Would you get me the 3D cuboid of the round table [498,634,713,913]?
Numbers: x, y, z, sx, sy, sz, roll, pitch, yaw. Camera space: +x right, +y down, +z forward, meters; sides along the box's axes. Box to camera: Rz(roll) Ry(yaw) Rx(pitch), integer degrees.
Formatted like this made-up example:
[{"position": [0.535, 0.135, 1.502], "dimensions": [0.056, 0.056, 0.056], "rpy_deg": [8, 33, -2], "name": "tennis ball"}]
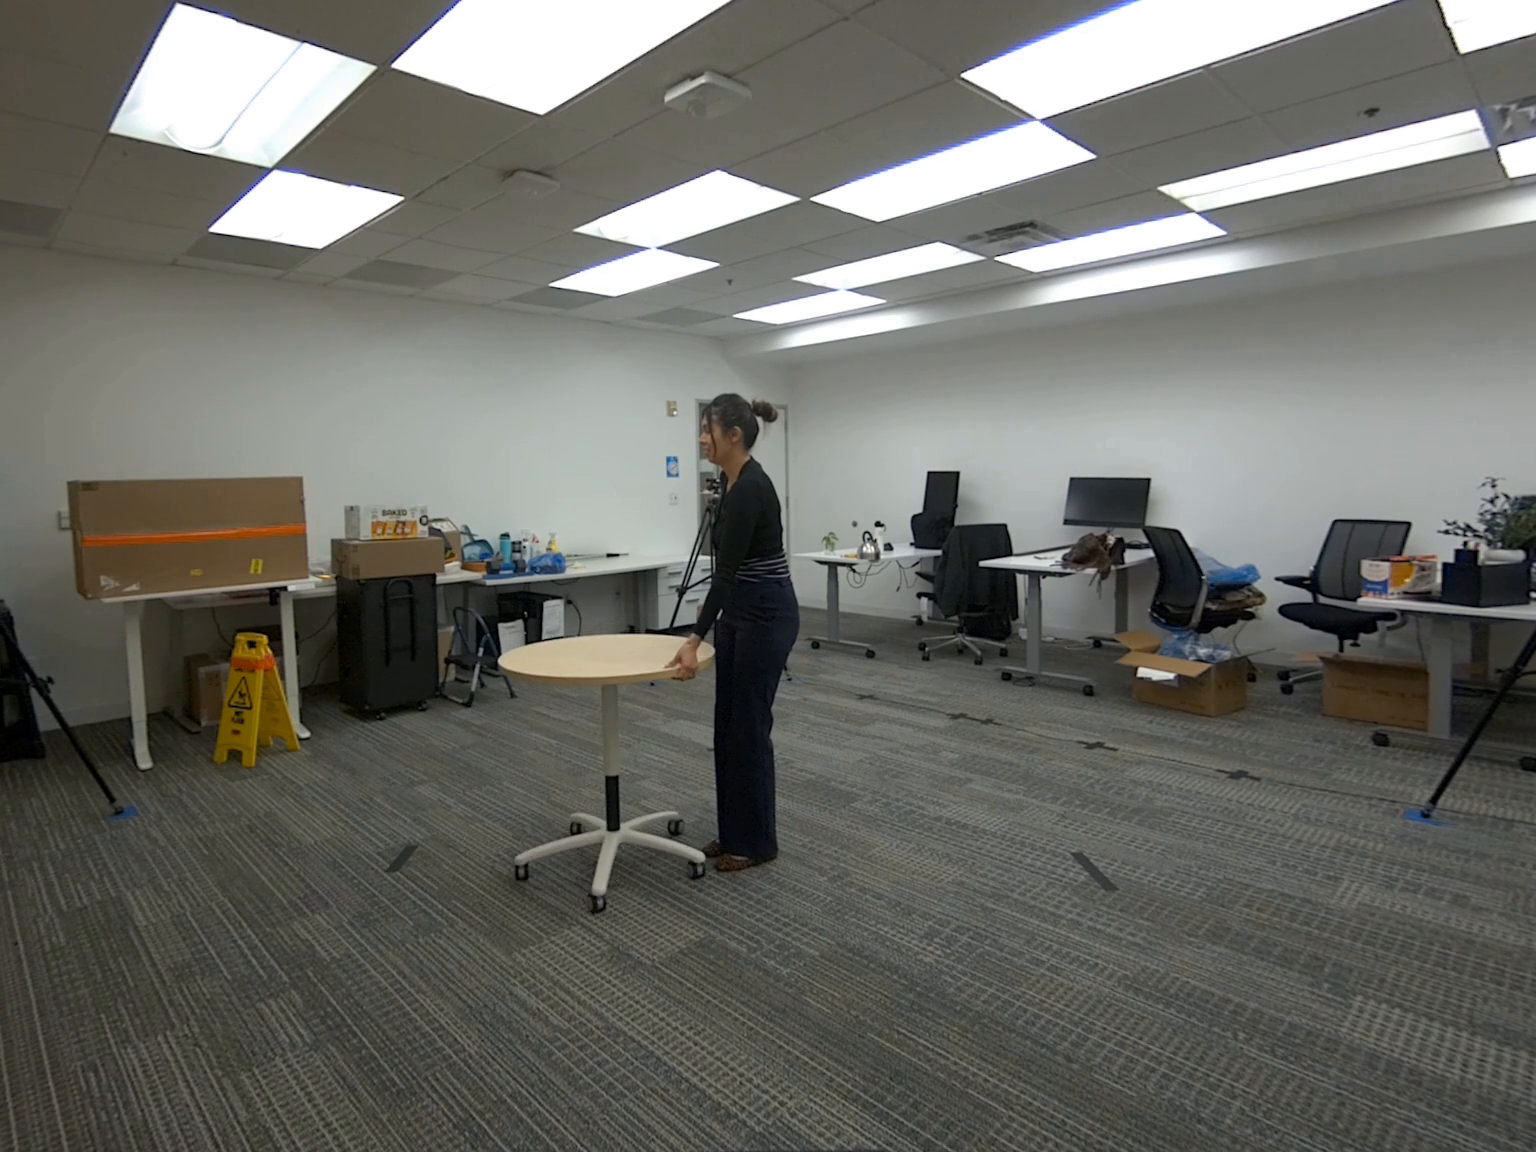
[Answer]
[{"position": [-0.561, 0.668, 3.075], "dimensions": [0.763, 0.791, 0.768], "rpy_deg": [-1, 5, -2], "name": "round table"}]
